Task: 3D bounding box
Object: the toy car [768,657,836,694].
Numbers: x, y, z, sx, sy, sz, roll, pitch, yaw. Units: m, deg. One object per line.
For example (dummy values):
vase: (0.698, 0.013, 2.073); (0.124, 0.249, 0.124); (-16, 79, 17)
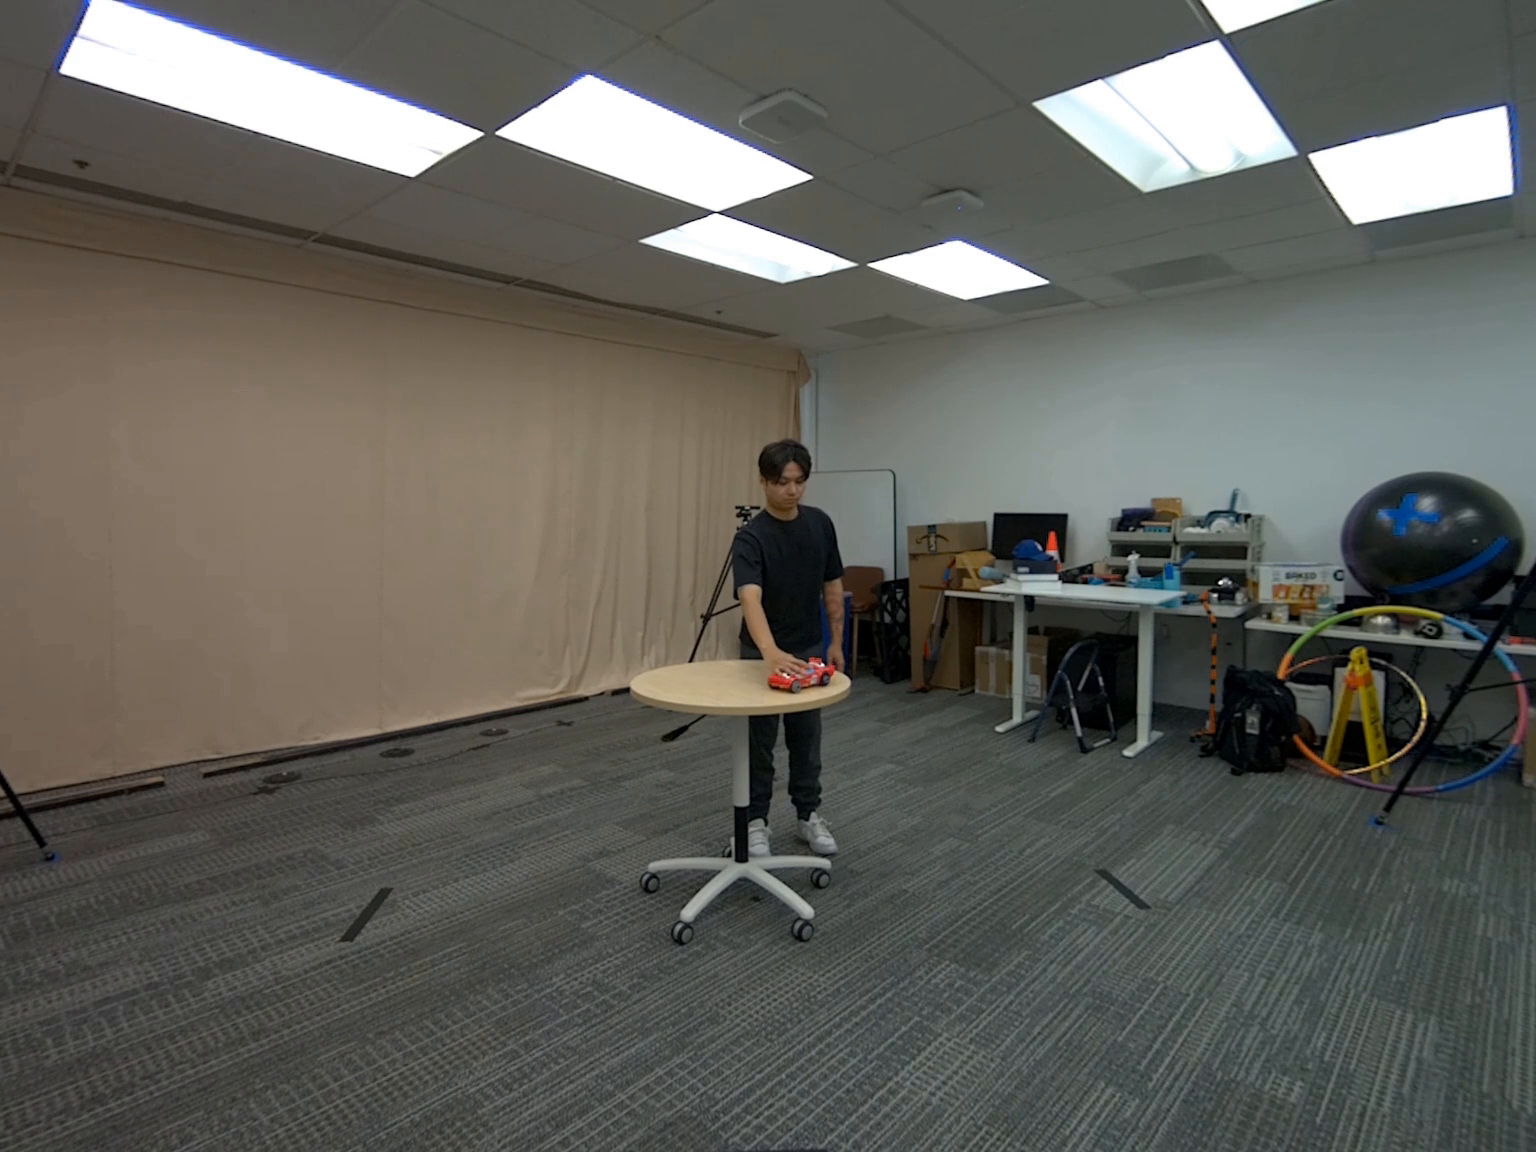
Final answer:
toy car: (0.122, 0.339, 2.830); (0.248, 0.082, 0.134); (-20, 16, -40)
